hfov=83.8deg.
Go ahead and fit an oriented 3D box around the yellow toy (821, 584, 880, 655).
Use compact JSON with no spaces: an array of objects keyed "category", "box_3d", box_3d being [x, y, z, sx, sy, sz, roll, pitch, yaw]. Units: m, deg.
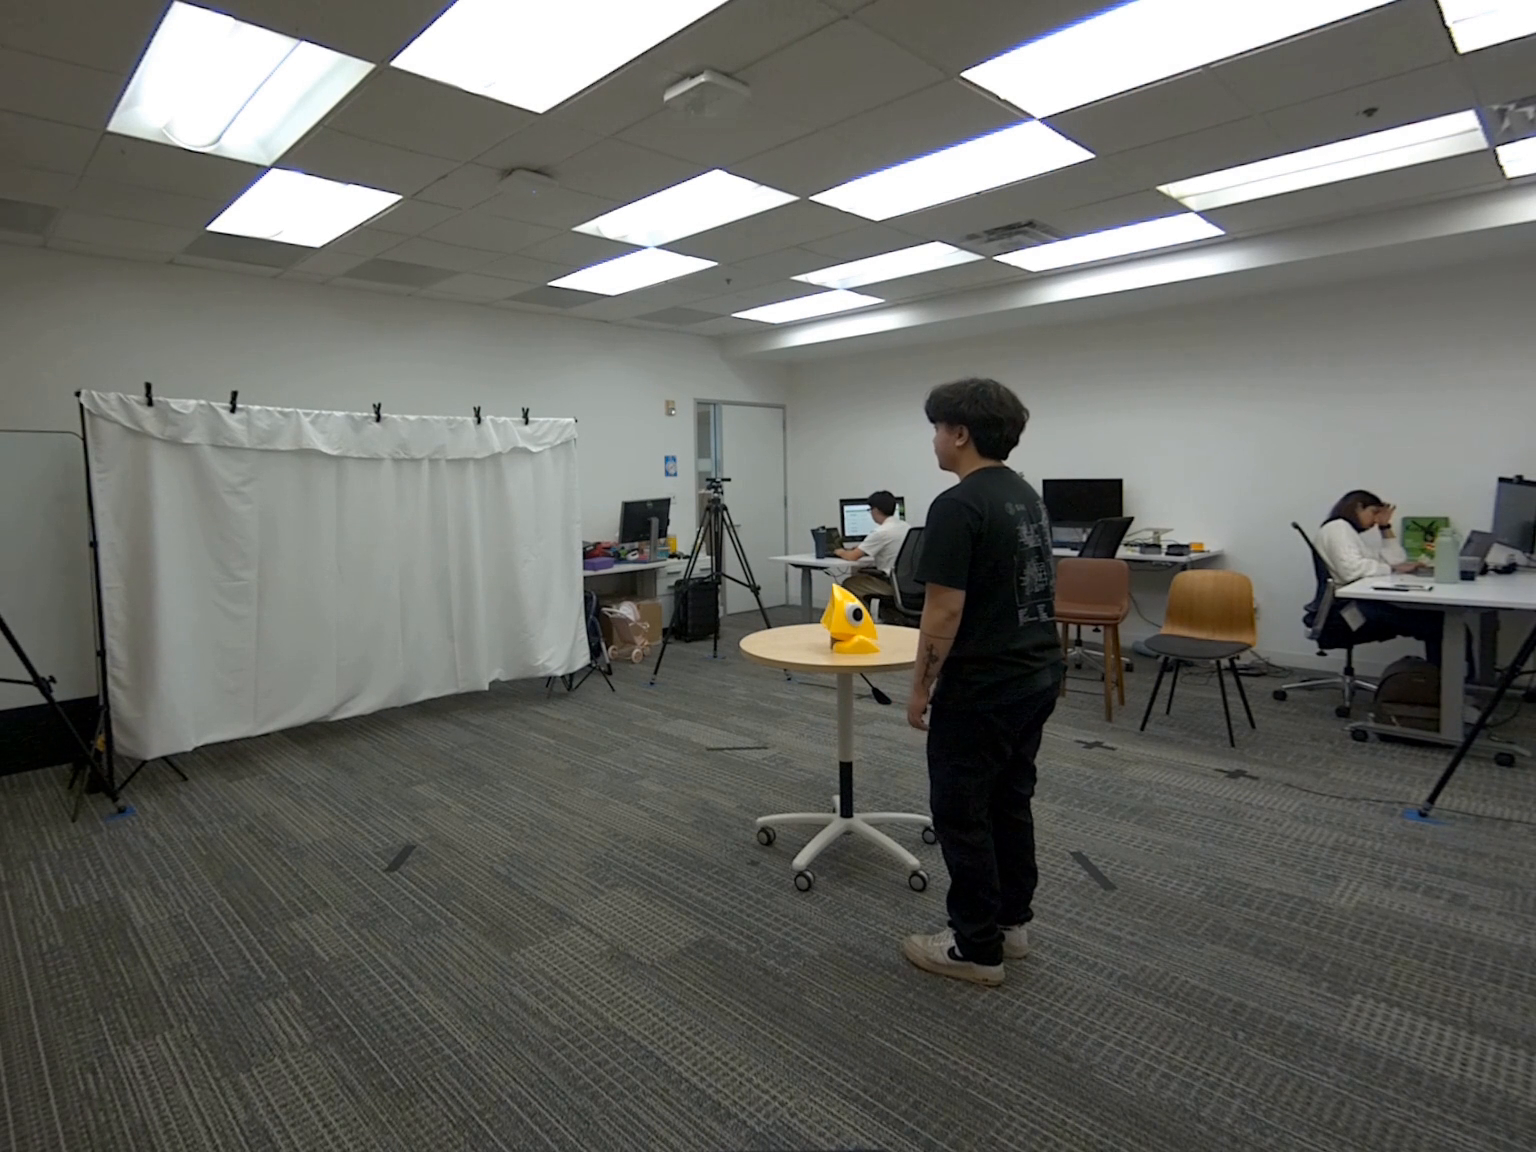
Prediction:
[{"category":"yellow toy","box_3d":[0.292,0.139,3.010,0.192,0.230,0.206,-3,4,-4]}]
